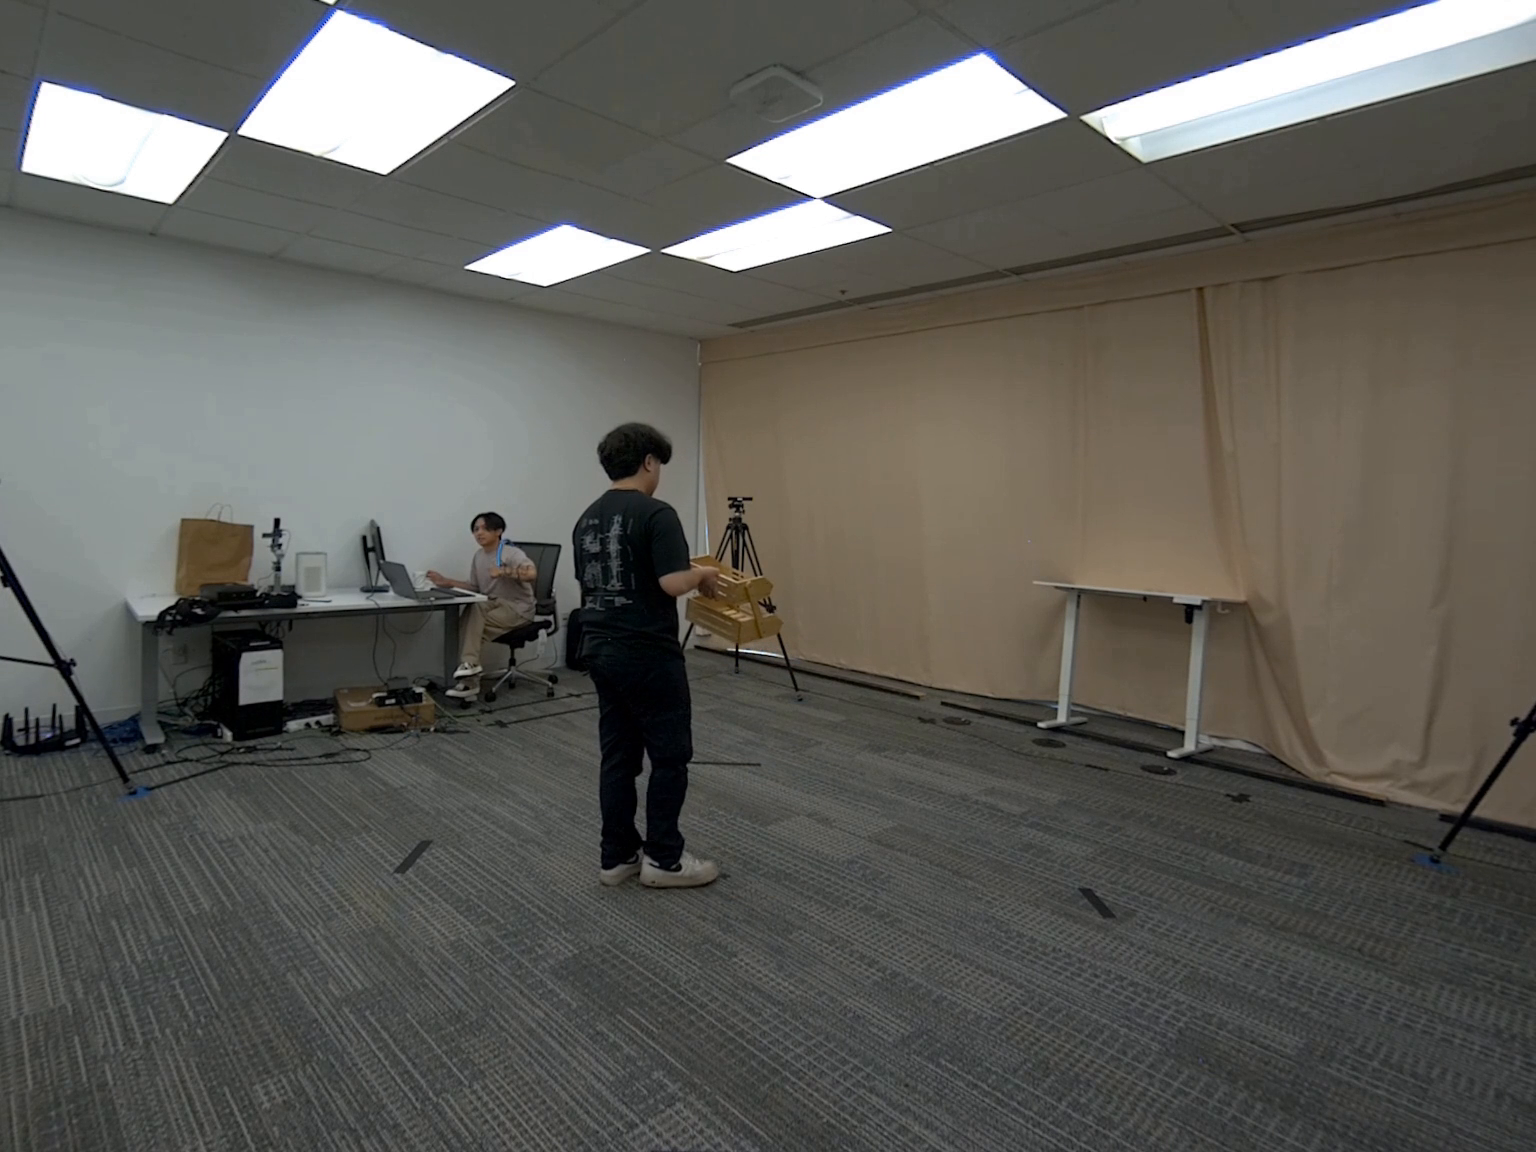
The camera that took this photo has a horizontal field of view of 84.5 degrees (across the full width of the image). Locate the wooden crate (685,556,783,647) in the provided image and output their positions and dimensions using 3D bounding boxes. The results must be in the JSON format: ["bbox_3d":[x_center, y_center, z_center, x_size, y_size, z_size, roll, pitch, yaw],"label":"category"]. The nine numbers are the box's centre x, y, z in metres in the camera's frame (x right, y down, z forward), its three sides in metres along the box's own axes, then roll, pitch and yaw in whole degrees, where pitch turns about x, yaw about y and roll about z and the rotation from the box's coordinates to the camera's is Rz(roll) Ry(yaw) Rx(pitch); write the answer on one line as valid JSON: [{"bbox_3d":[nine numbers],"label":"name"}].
[{"bbox_3d":[-0.144,0.077,3.296,0.334,0.270,0.296,21,22,39],"label":"wooden crate"}]
